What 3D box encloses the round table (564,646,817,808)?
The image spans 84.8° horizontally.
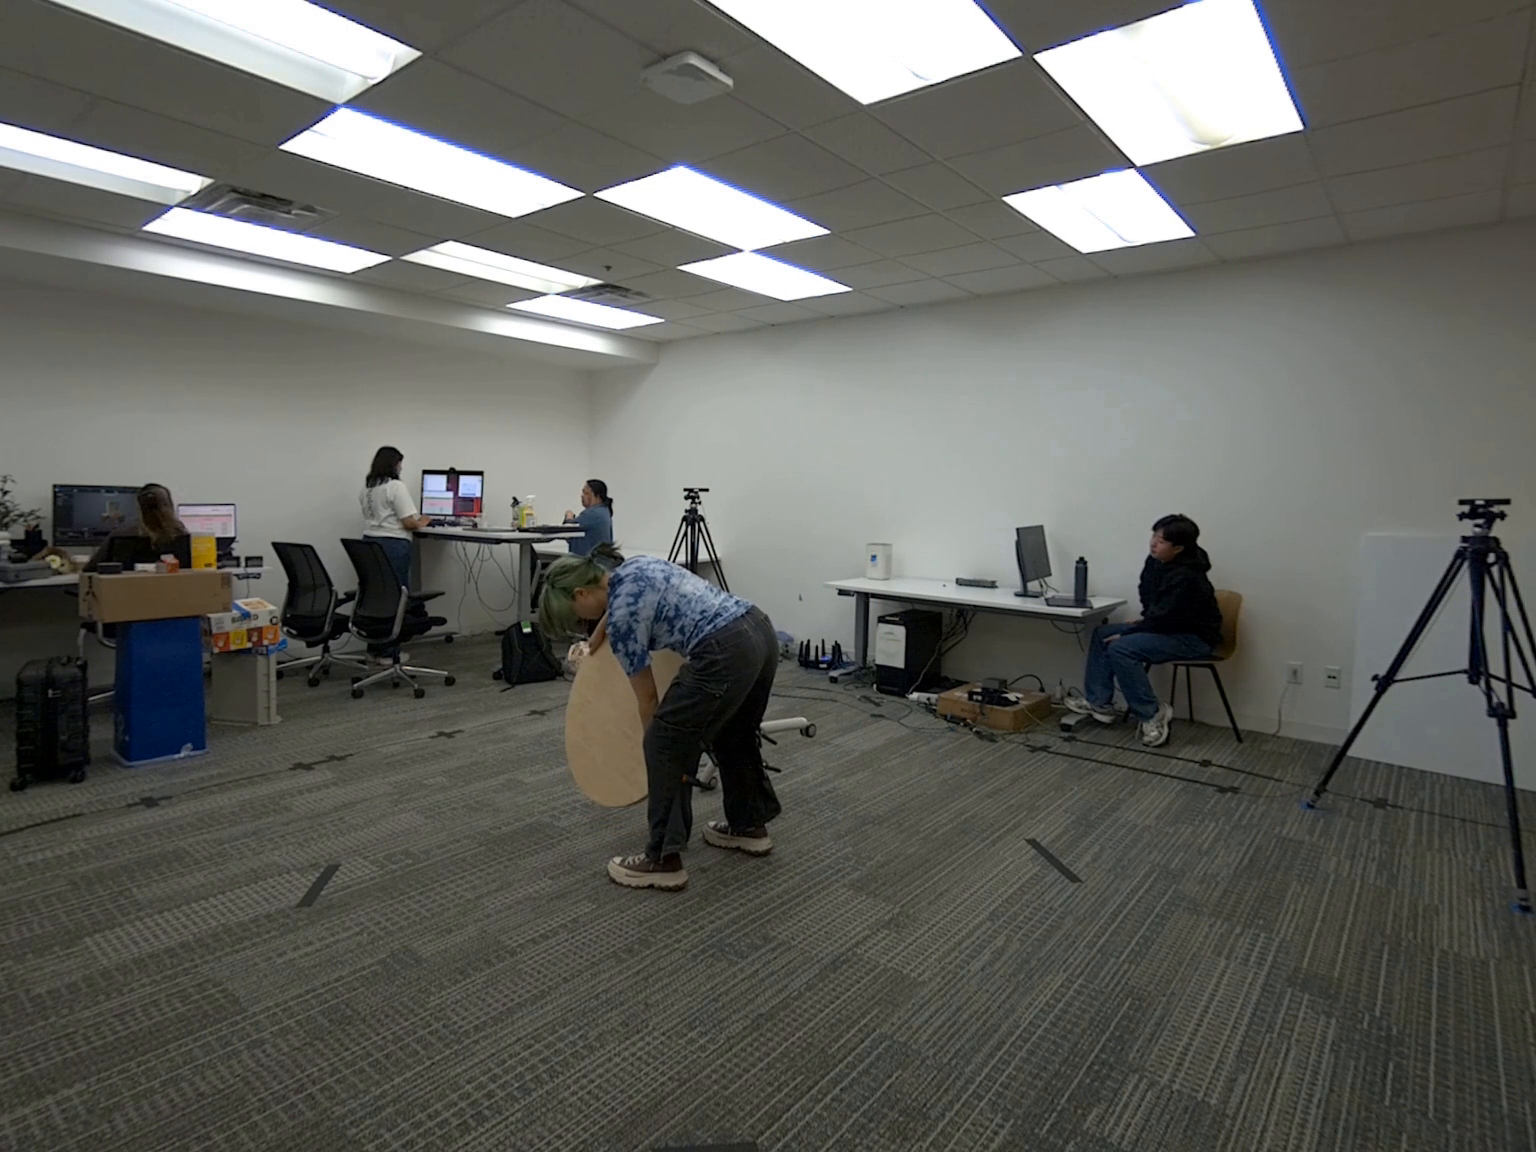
[{"bbox_3d":[-0.326,0.620,3.634,0.790,0.769,0.762,5,-13,45],"label":"round table"}]
